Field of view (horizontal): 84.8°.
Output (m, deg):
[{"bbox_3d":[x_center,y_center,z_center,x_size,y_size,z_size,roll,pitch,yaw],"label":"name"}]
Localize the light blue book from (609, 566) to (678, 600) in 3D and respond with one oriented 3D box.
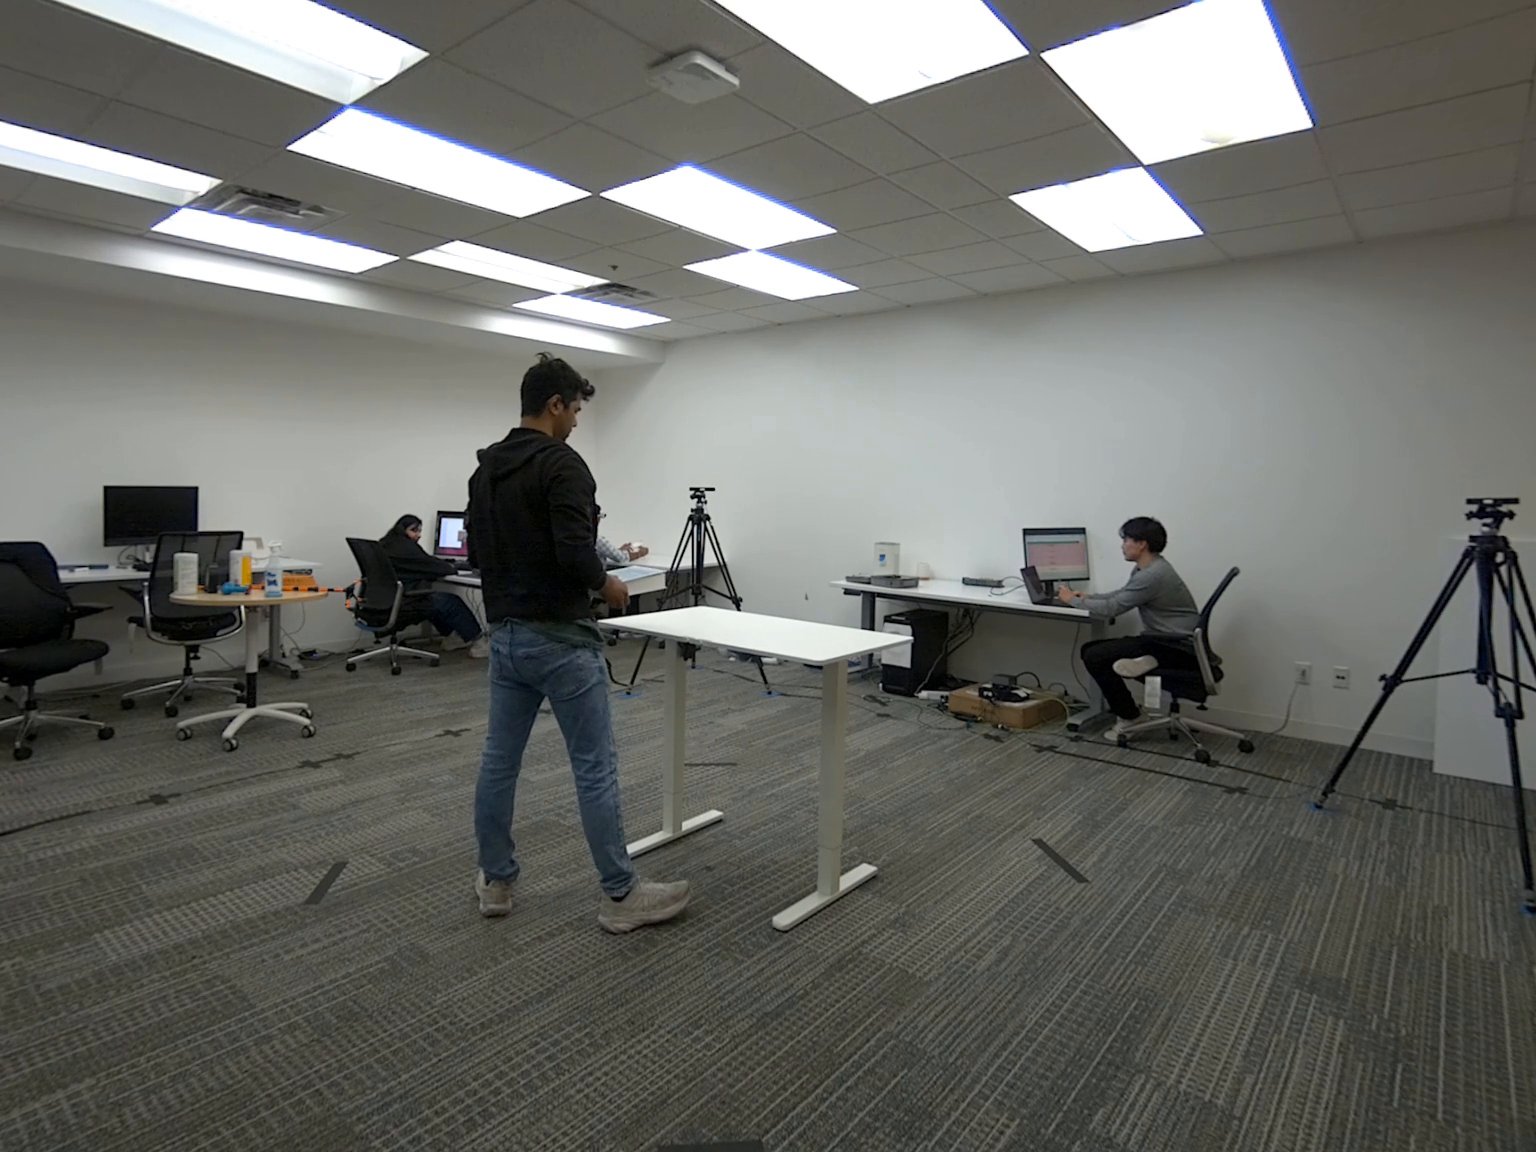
[{"bbox_3d":[-0.486,0.022,3.001,0.198,0.058,0.254,7,13,39],"label":"light blue book"}]
